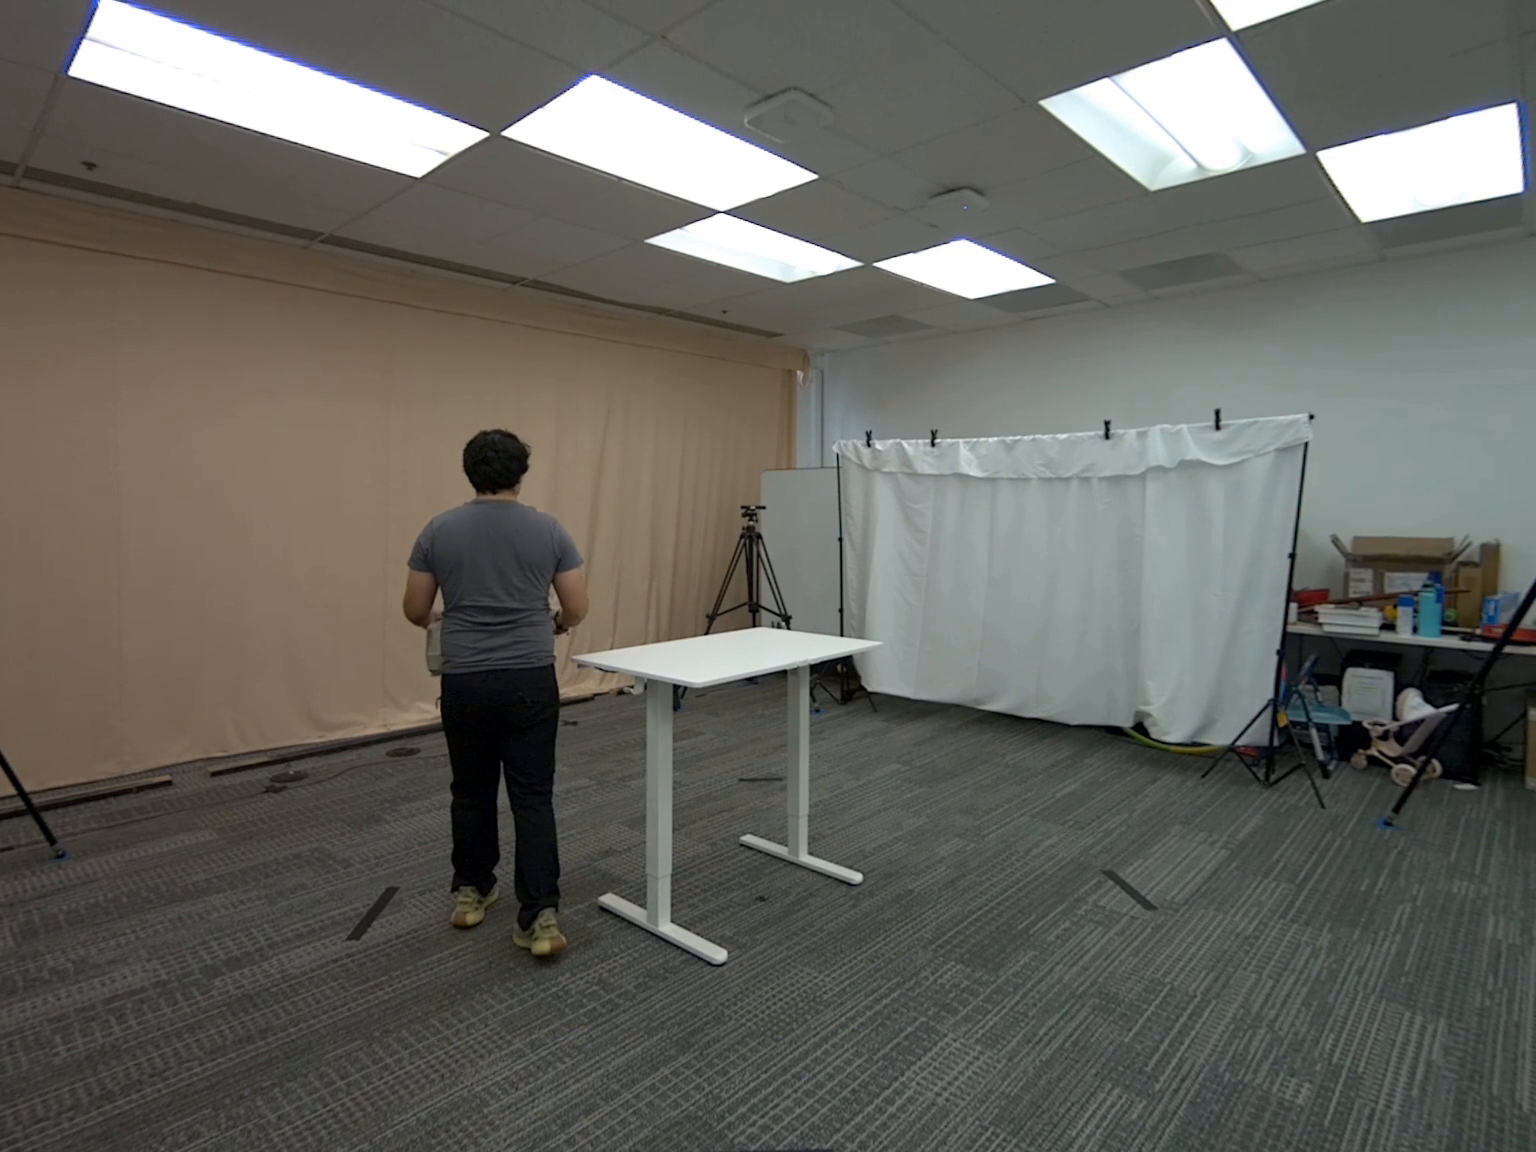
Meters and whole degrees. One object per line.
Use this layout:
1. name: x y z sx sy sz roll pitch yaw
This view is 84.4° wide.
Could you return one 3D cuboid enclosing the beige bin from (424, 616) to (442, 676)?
1. beige bin: -0.995 0.240 3.057 0.419 0.188 0.382 -1 8 -8
